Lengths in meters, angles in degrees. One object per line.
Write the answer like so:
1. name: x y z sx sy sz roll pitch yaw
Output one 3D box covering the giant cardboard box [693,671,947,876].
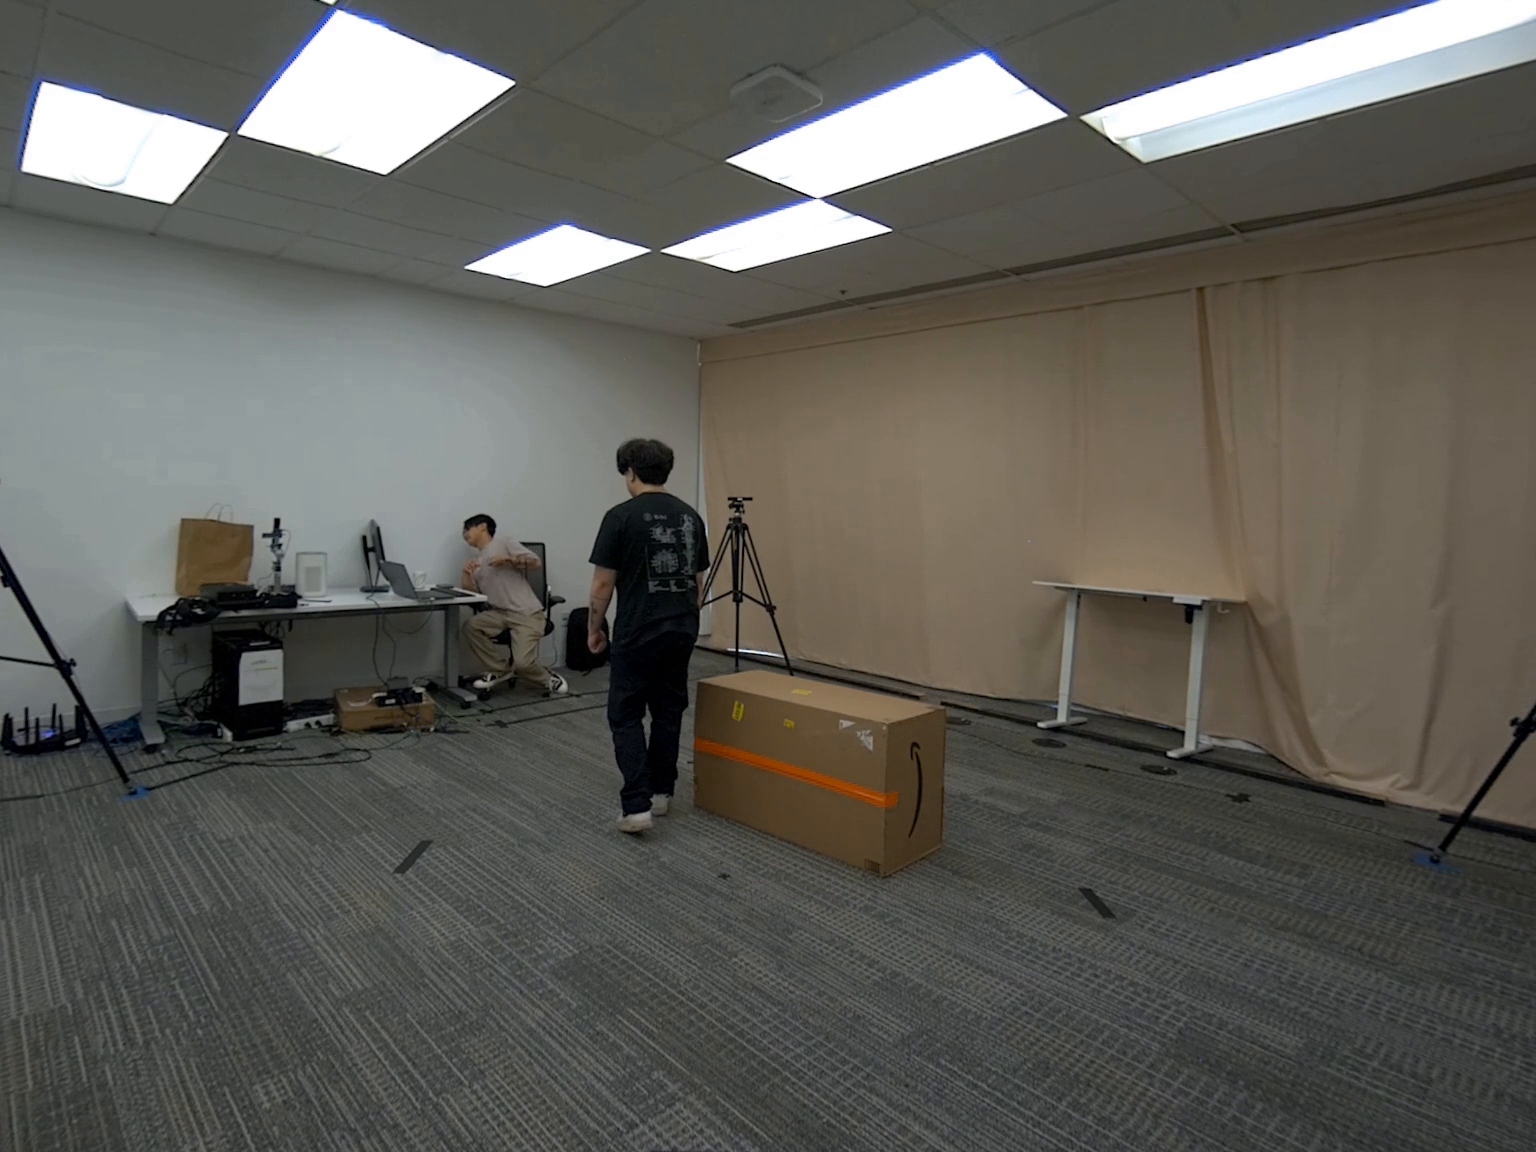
1. giant cardboard box: 0.184 0.786 3.603 1.053 0.582 0.437 5 5 42
